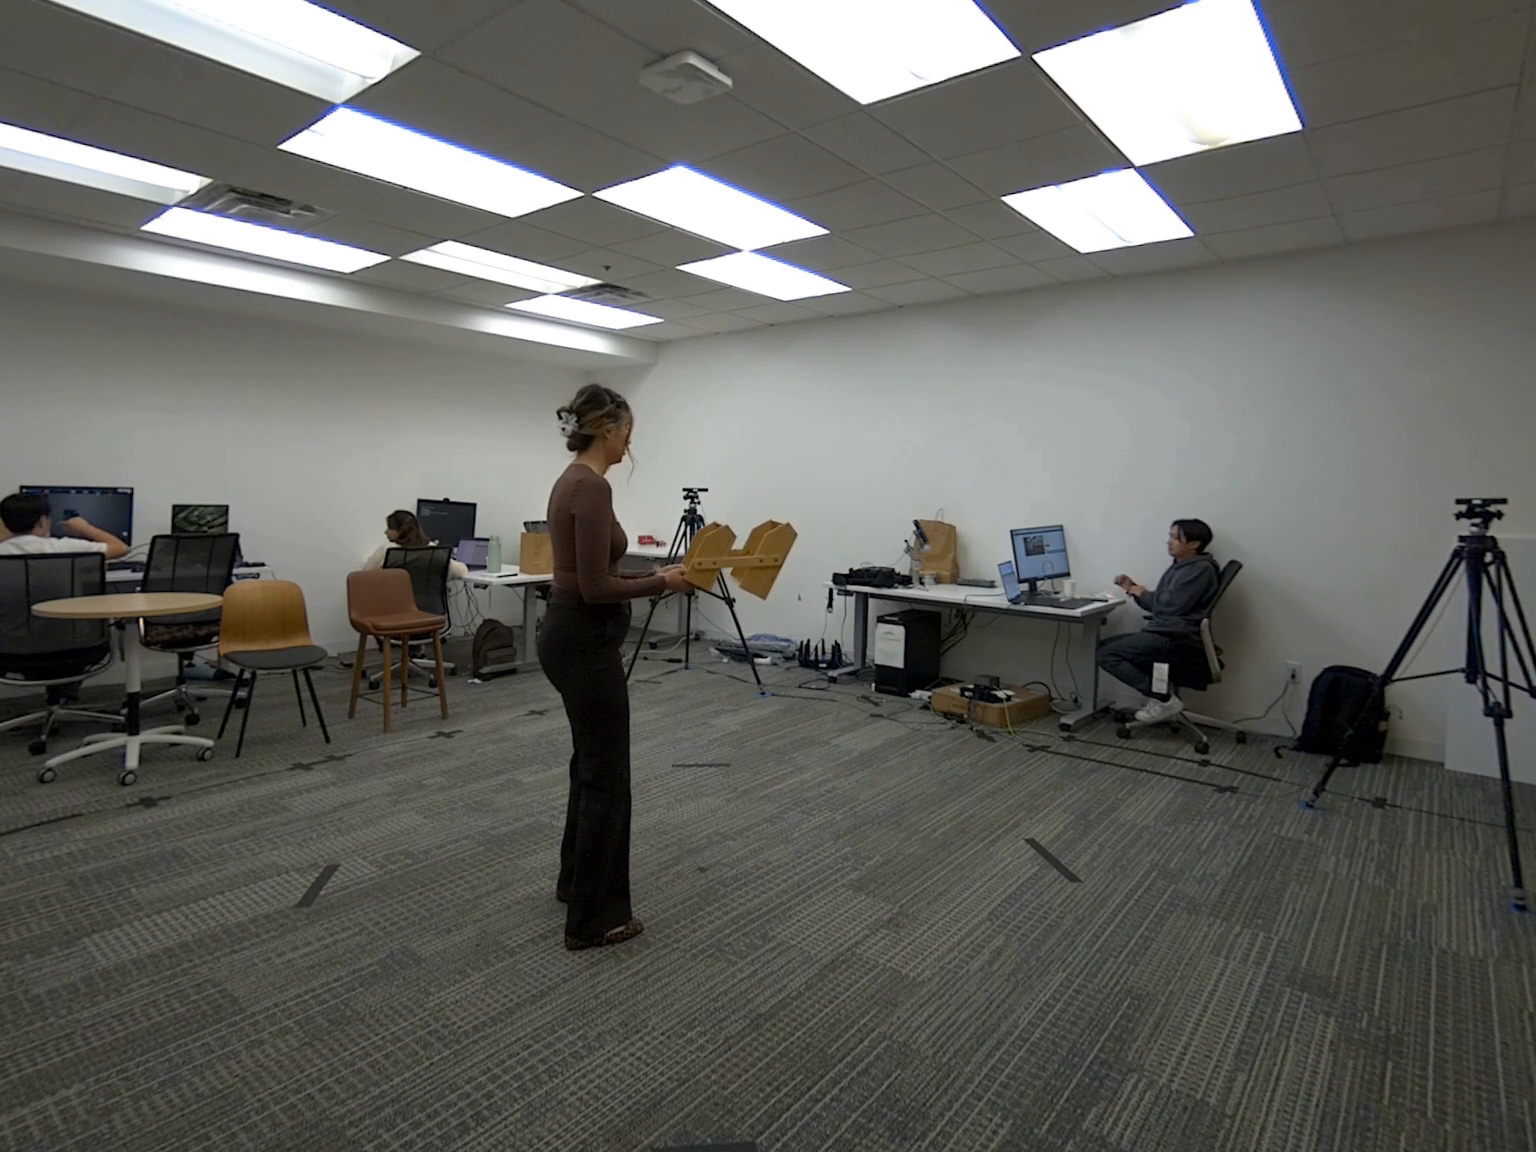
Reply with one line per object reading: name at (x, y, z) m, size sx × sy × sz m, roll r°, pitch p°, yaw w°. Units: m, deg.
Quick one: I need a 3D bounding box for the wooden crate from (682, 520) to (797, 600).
wooden crate at (-0.115, -0.075, 2.763) m, size 0.270 × 0.302 × 0.329 m, roll 27°, pitch 1°, yaw -11°
